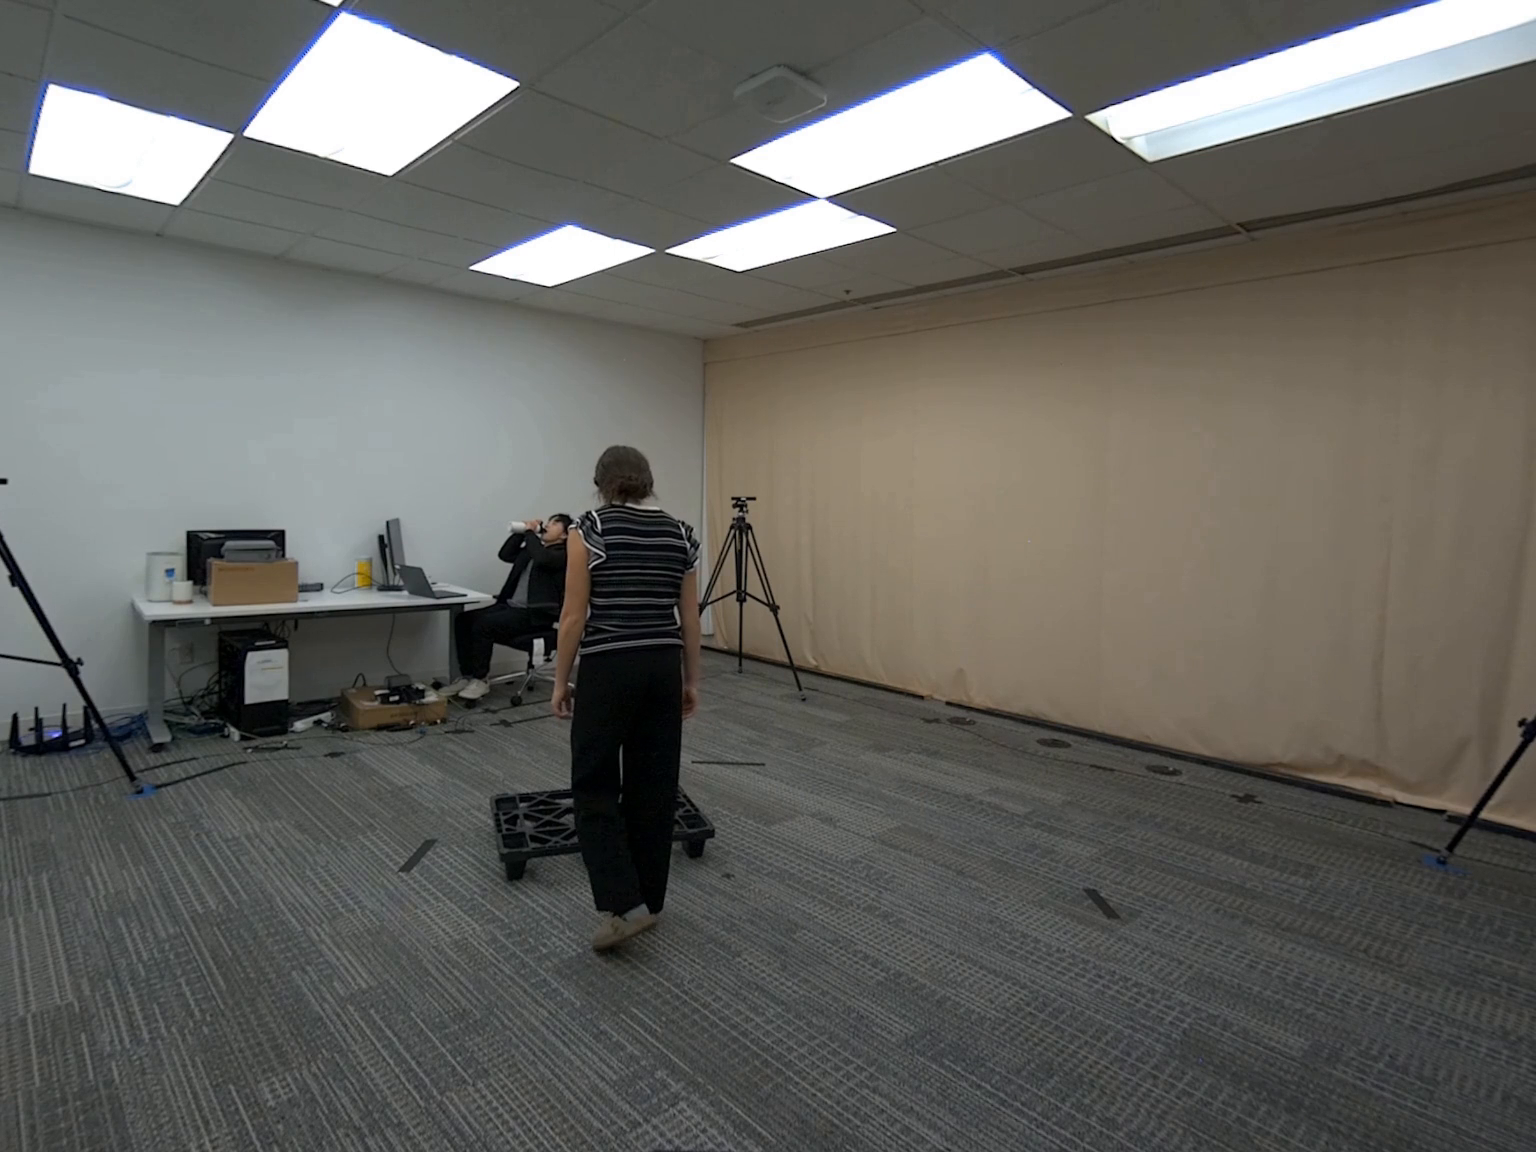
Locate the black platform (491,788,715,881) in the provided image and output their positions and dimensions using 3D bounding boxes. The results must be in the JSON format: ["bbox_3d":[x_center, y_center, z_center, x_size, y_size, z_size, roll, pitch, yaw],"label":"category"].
[{"bbox_3d":[-0.689,1.005,3.355,0.793,0.143,0.616,0,5,-20],"label":"black platform"}]
